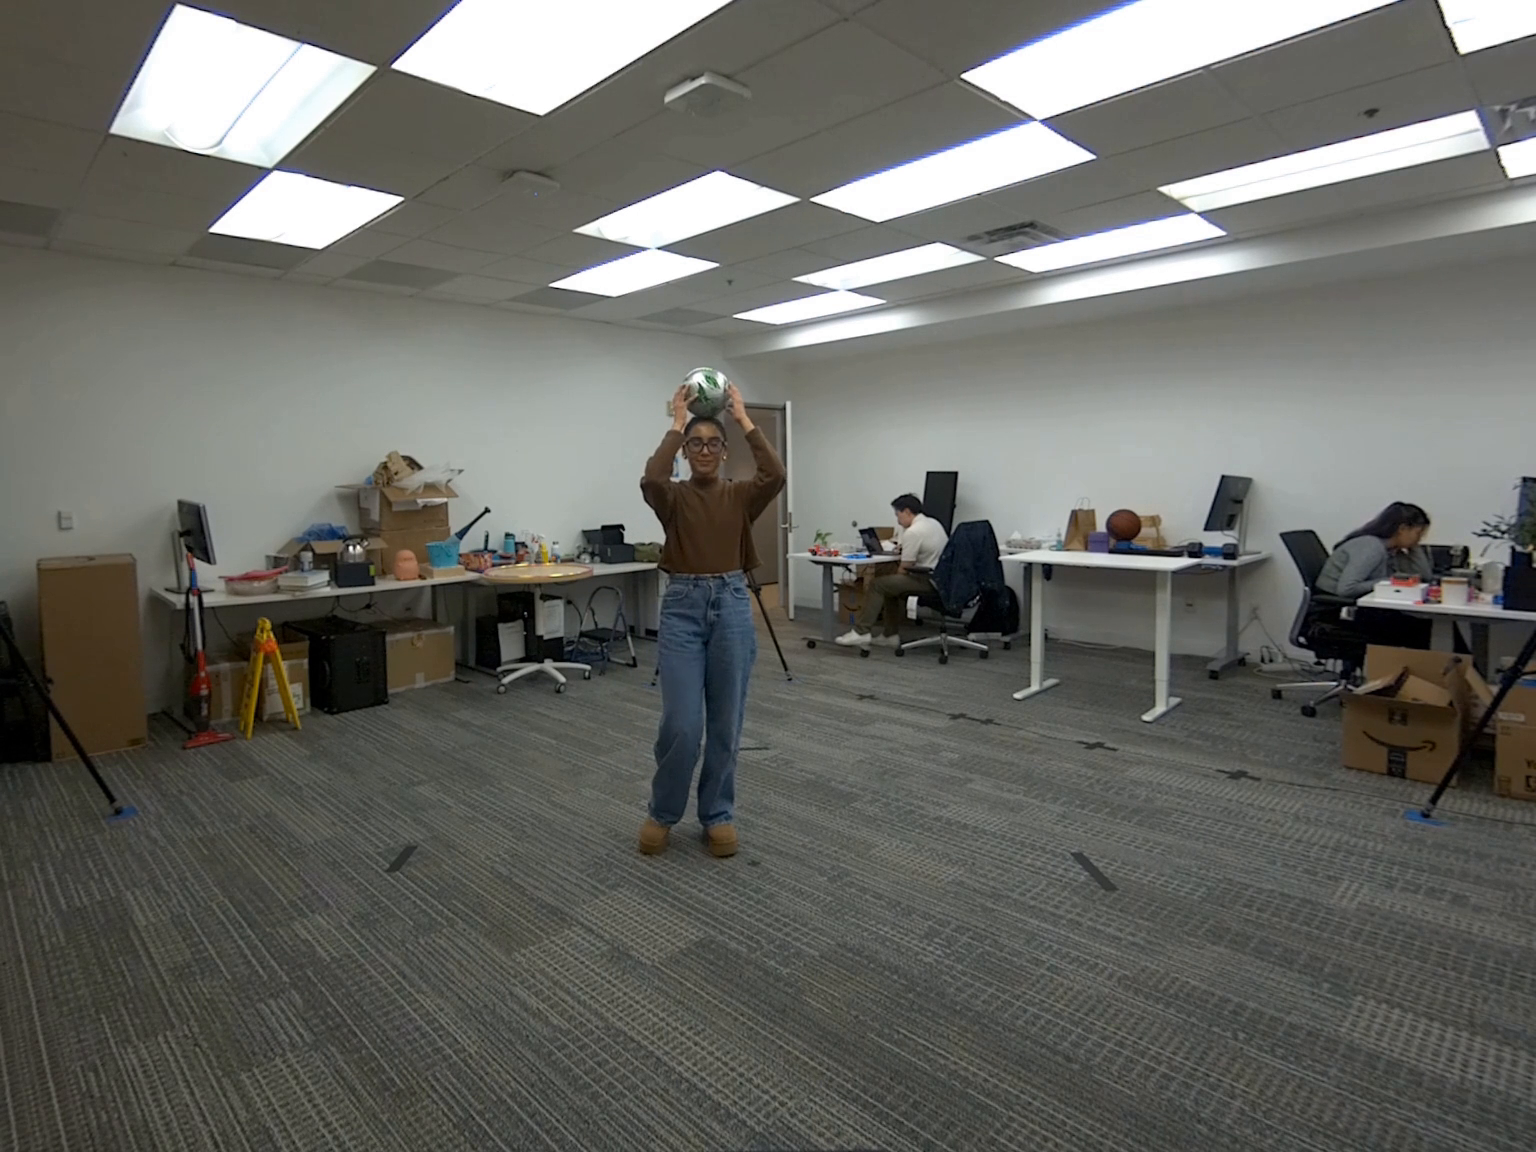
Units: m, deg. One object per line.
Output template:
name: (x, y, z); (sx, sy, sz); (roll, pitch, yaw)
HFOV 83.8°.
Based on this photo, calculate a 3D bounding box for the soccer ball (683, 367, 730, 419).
soccer ball: (-0.231, -0.683, 3.188); (0.187, 0.187, 0.188); (-1, 5, -2)
